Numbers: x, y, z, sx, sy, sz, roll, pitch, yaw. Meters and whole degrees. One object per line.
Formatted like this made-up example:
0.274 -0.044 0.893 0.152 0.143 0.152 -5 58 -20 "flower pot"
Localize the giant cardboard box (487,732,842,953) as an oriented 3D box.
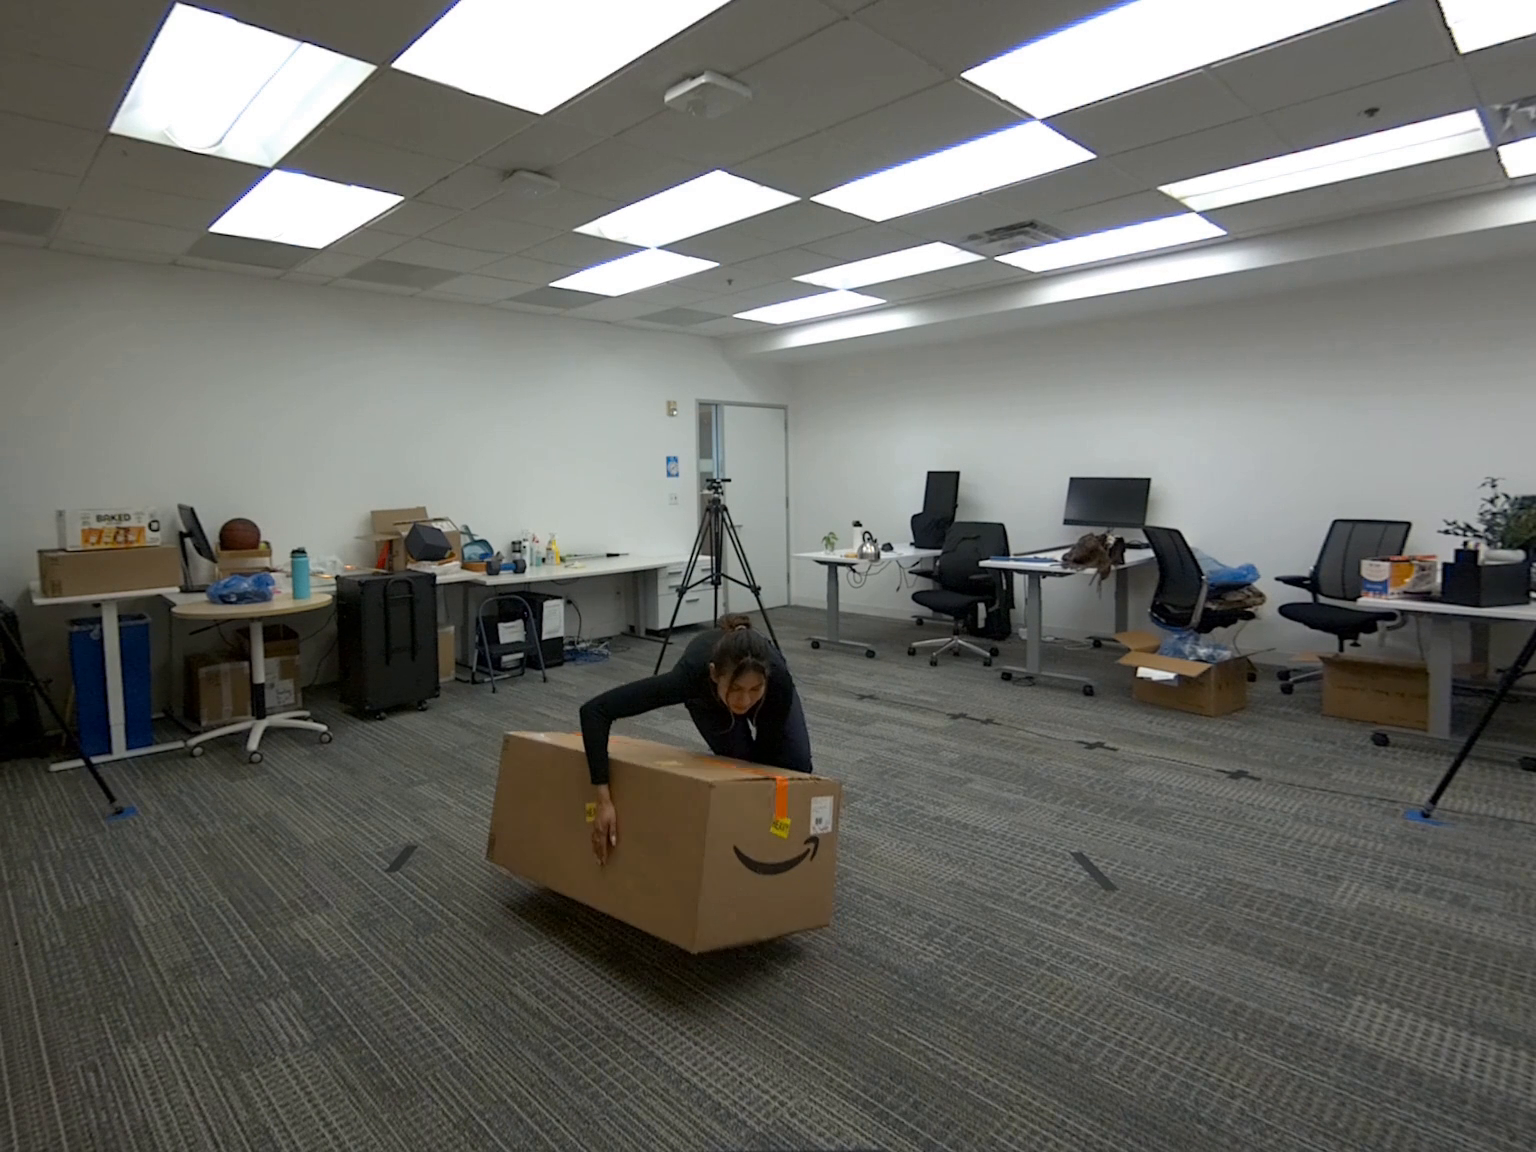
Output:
-0.359 0.776 2.725 1.055 0.429 0.557 0 -10 44 "giant cardboard box"
